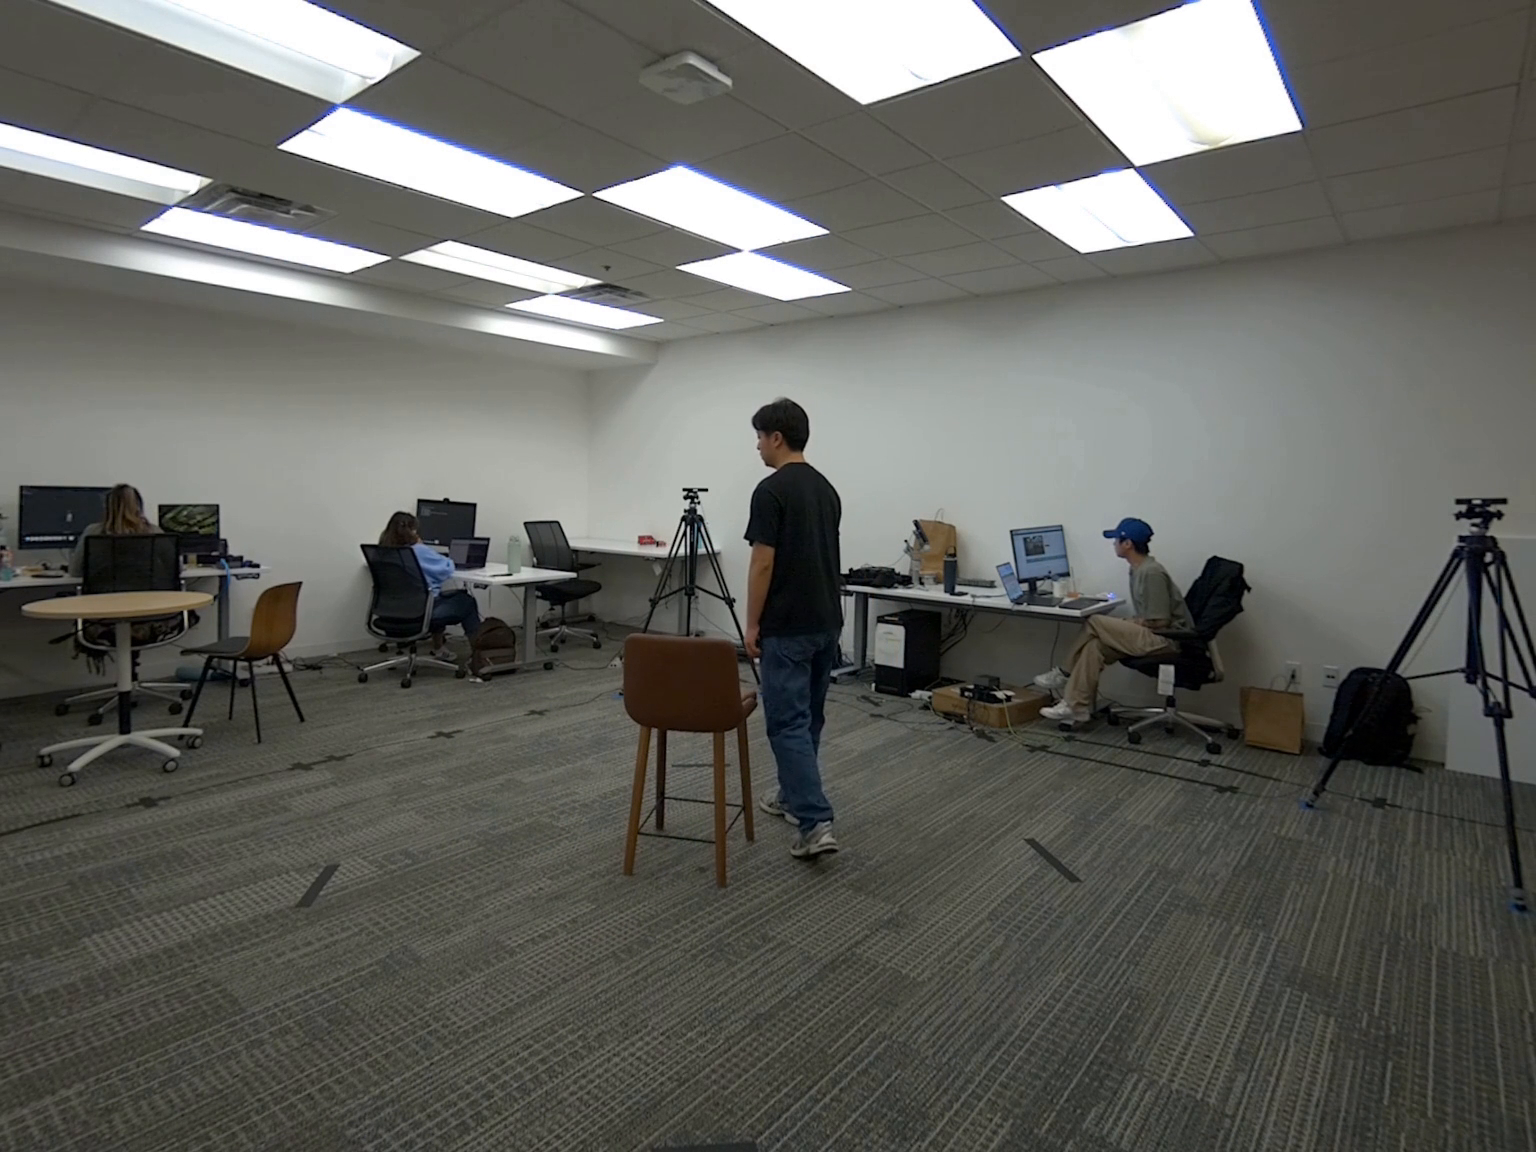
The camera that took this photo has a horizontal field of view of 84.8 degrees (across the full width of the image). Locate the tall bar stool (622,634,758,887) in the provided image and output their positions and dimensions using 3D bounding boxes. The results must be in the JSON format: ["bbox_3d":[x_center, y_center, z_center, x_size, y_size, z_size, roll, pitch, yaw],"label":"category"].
[{"bbox_3d":[-0.300,0.626,3.198,0.464,0.886,0.462,1,4,14],"label":"tall bar stool"}]
